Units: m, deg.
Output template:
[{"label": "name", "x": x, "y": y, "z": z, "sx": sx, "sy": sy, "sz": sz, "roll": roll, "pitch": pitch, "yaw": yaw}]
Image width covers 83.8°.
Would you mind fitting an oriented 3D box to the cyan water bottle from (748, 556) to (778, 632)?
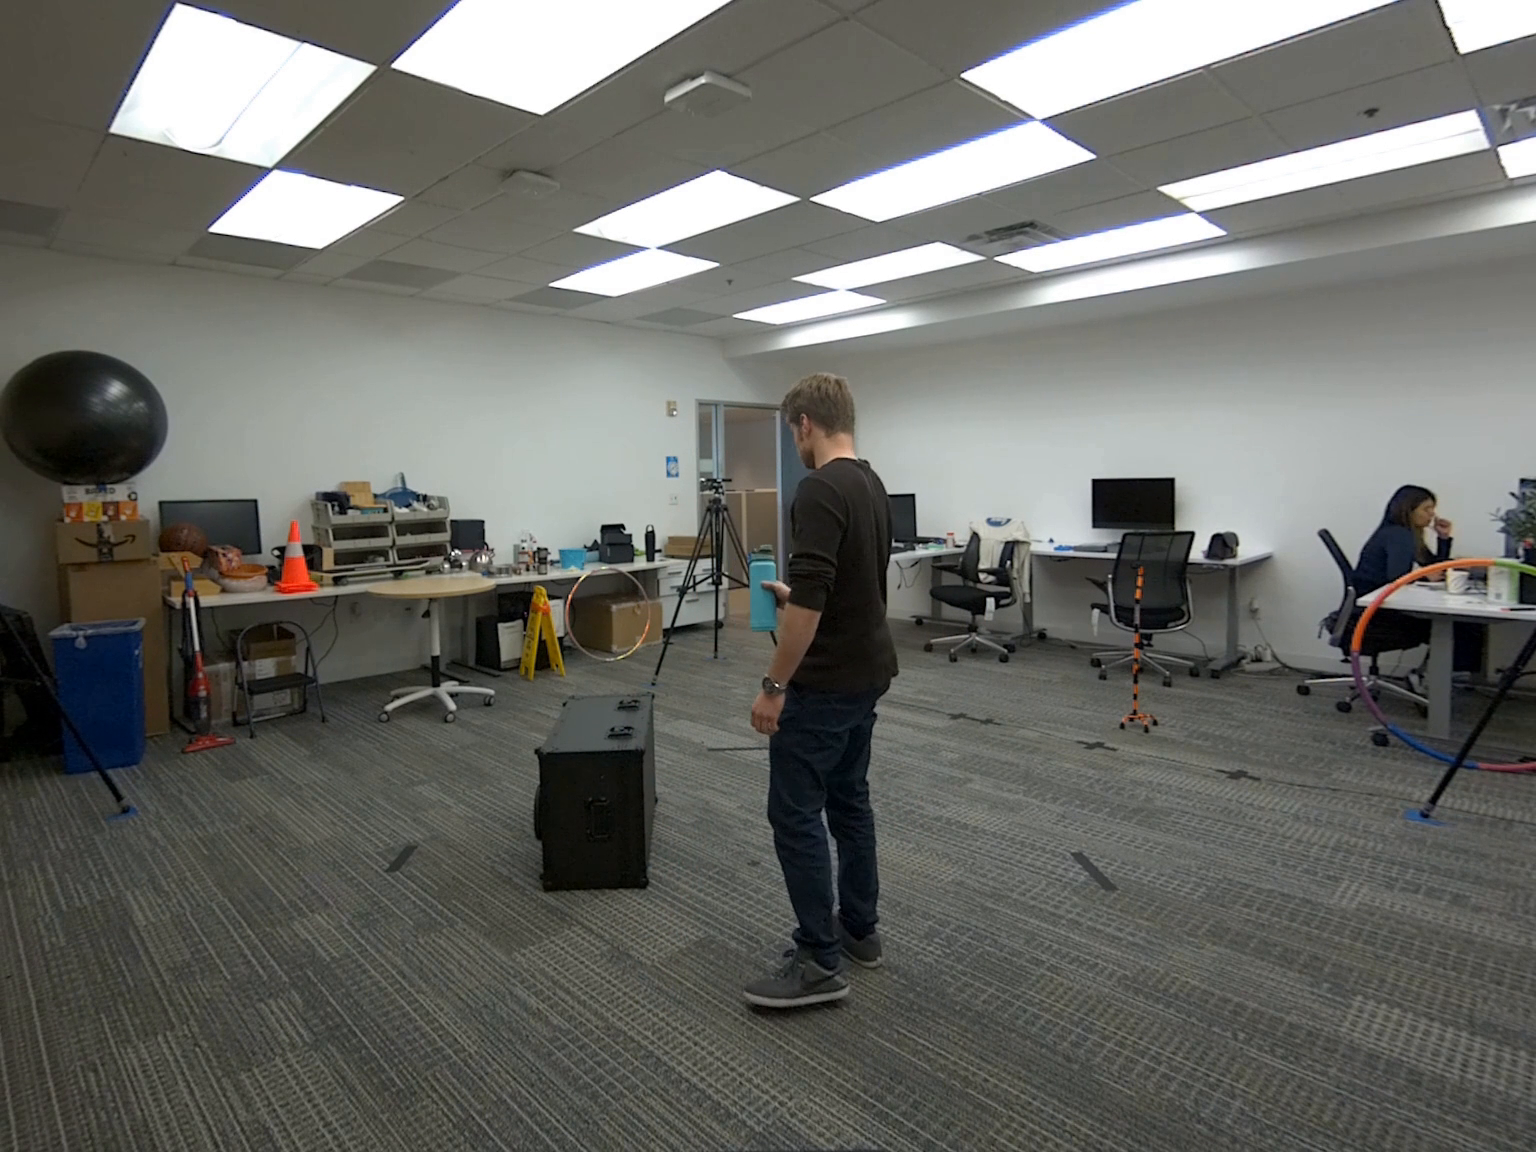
[{"label": "cyan water bottle", "x": -0.018, "y": 0.041, "z": 2.832, "sx": 0.092, "sy": 0.285, "sz": 0.092, "roll": -4, "pitch": -7, "yaw": -2}]
